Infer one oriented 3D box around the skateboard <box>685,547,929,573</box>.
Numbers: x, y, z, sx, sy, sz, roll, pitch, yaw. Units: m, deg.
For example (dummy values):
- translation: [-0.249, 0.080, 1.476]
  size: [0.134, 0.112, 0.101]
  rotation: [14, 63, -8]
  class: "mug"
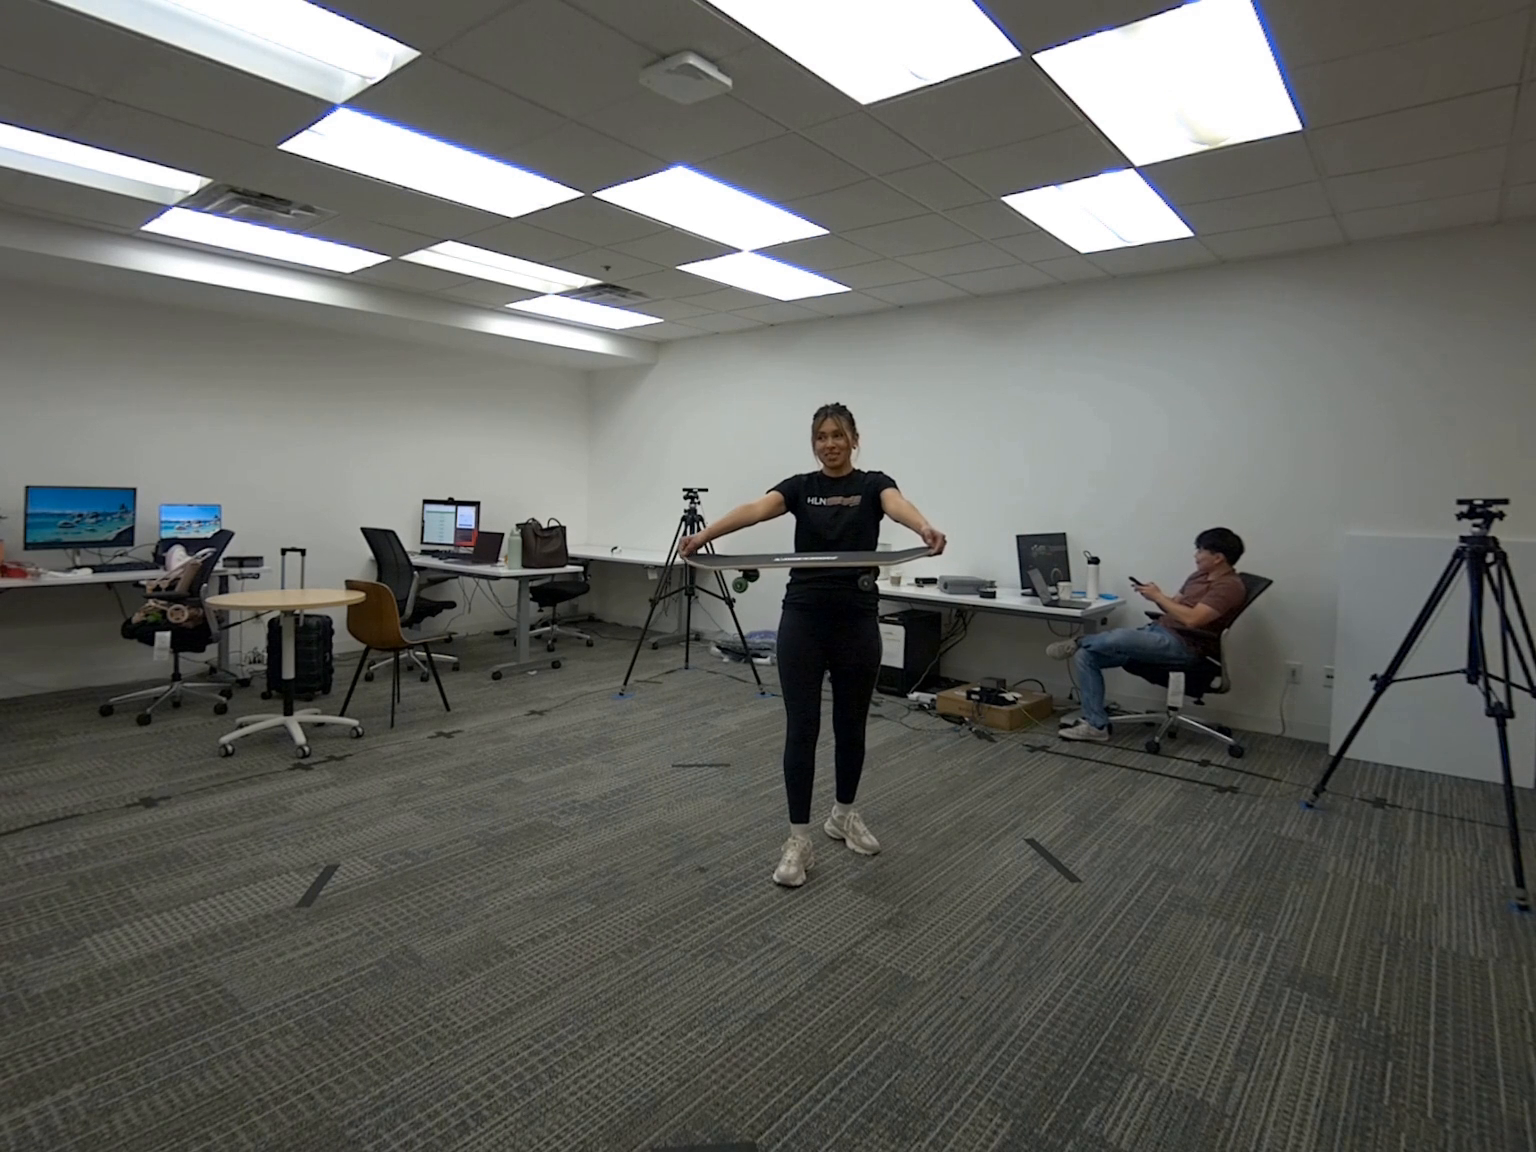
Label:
- translation: [0.117, -0.022, 2.694]
  size: [0.798, 0.109, 0.193]
  rotation: [-1, 13, 16]
  class: "skateboard"
